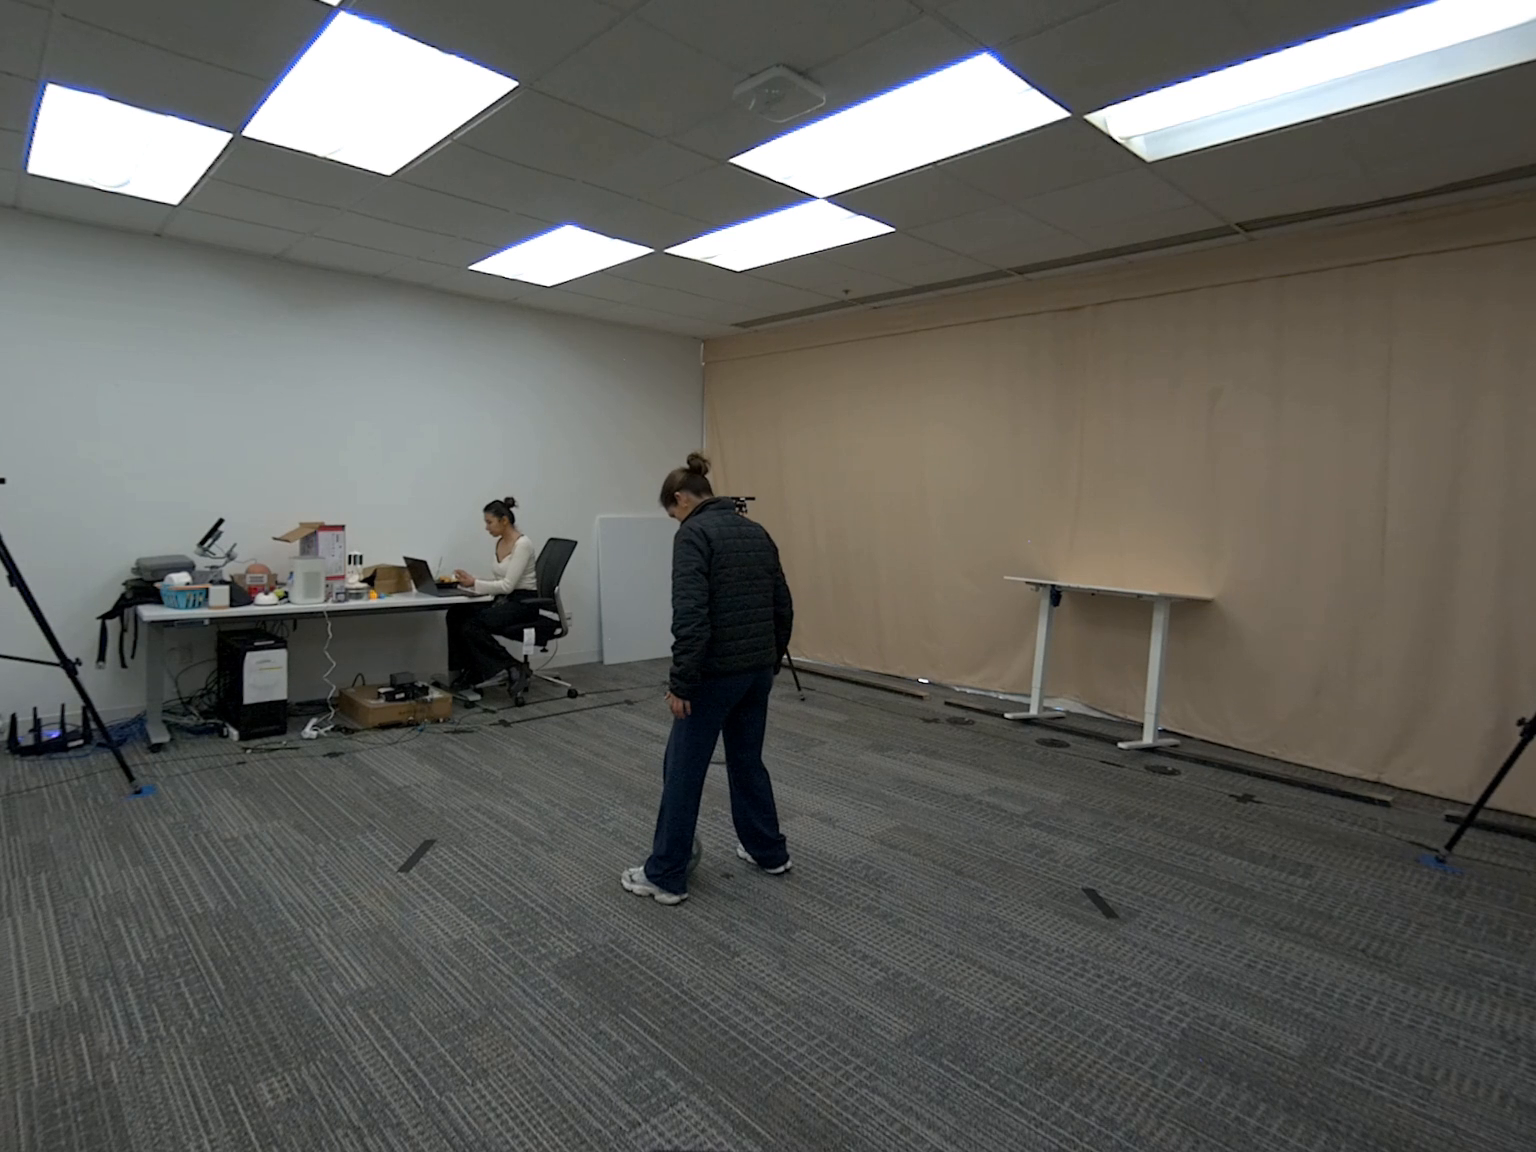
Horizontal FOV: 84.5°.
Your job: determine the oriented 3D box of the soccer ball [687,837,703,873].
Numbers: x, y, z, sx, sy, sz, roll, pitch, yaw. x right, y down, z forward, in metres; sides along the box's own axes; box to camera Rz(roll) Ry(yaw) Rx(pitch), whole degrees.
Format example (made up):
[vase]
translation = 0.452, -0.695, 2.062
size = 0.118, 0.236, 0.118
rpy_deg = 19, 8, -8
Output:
[soccer ball]
translation = -0.341, 1.012, 3.102
size = 0.187, 0.187, 0.188
rpy_deg = 1, 4, -1
